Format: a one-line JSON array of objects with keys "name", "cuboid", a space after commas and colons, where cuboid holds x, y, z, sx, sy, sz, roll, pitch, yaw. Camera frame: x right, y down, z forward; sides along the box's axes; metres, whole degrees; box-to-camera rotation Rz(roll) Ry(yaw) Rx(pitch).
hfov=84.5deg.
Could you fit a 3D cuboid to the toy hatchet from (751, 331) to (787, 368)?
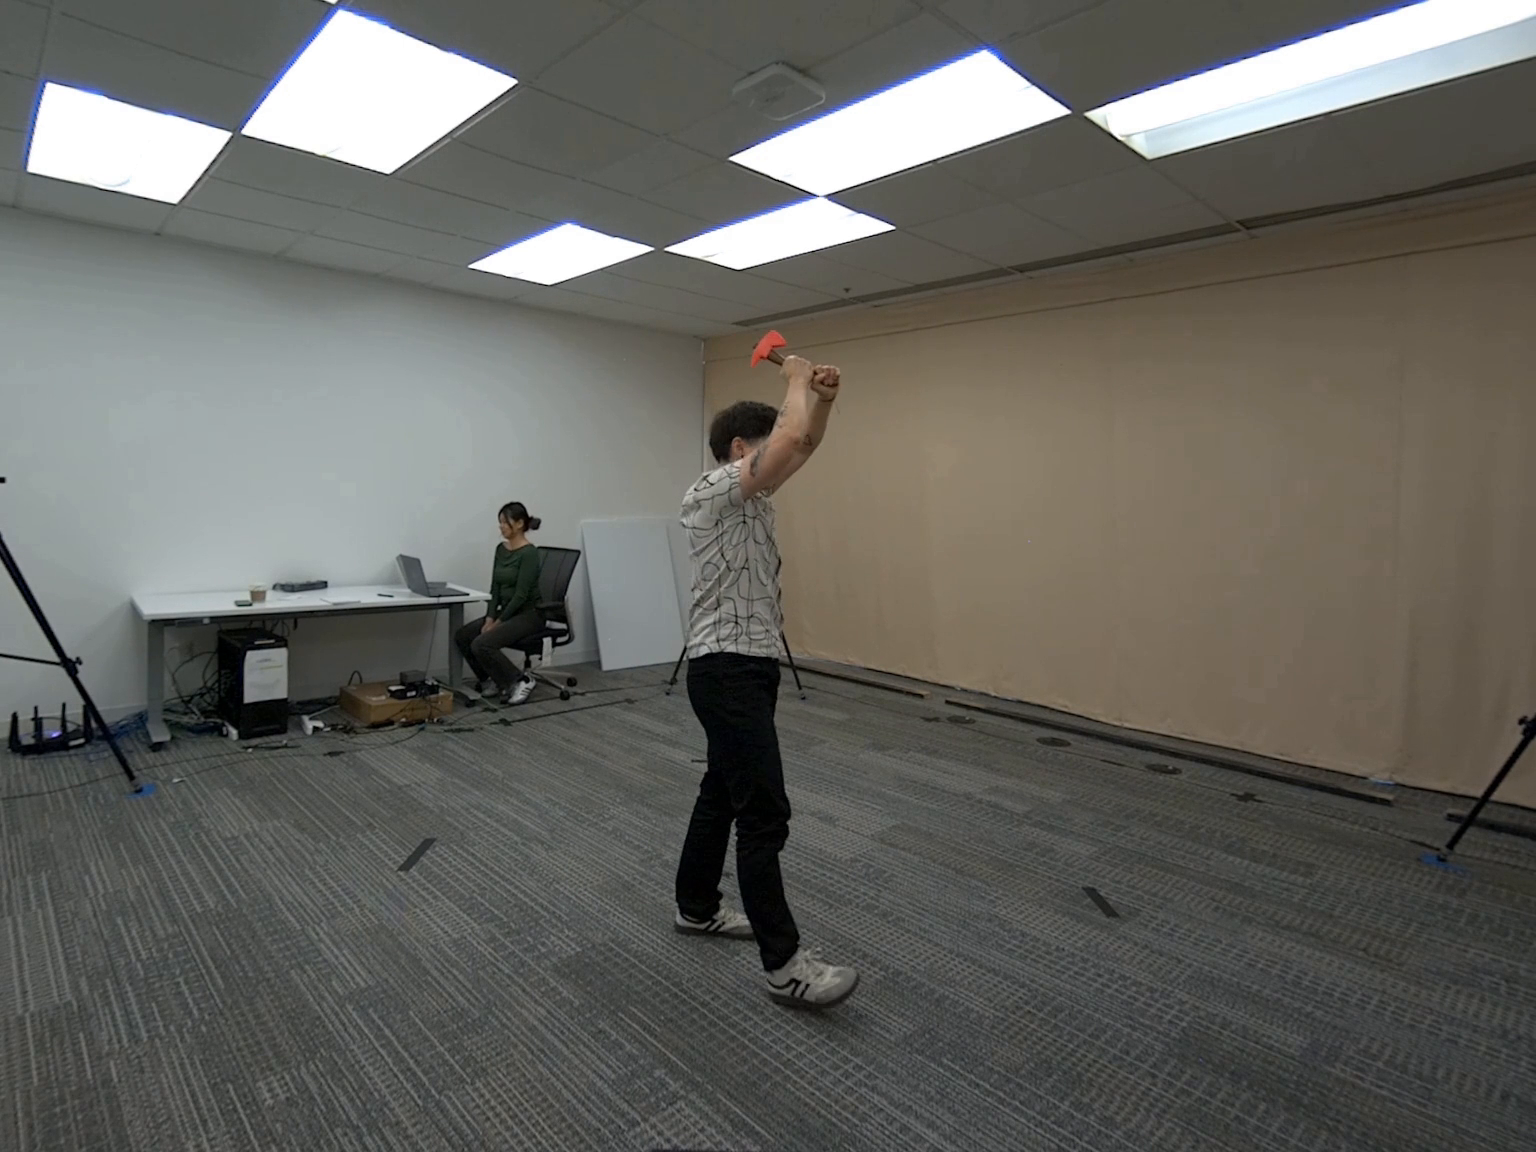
[{"name": "toy hatchet", "cuboid": [0.089, -0.652, 2.488, 0.270, 0.132, 0.029, 10, -14, -1]}]
